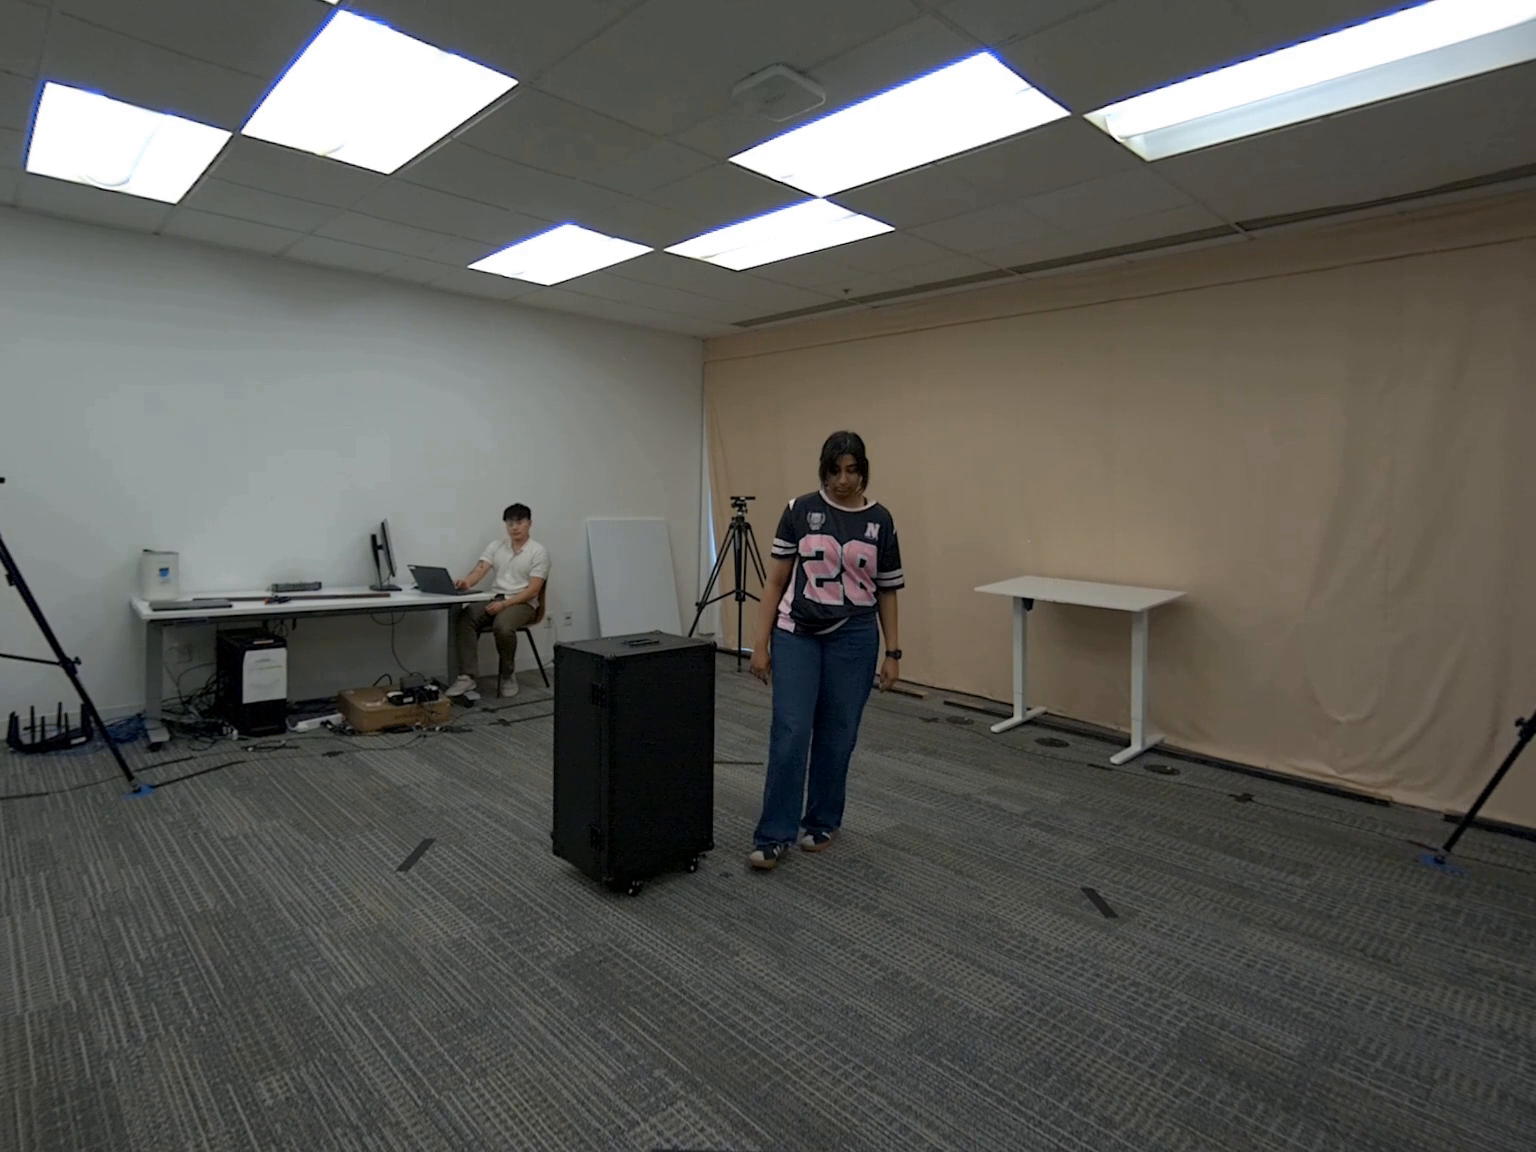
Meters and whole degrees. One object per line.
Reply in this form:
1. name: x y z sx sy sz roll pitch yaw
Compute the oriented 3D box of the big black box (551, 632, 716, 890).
1. big black box: -0.513 0.672 3.110 0.509 0.860 0.406 -2 3 -44
